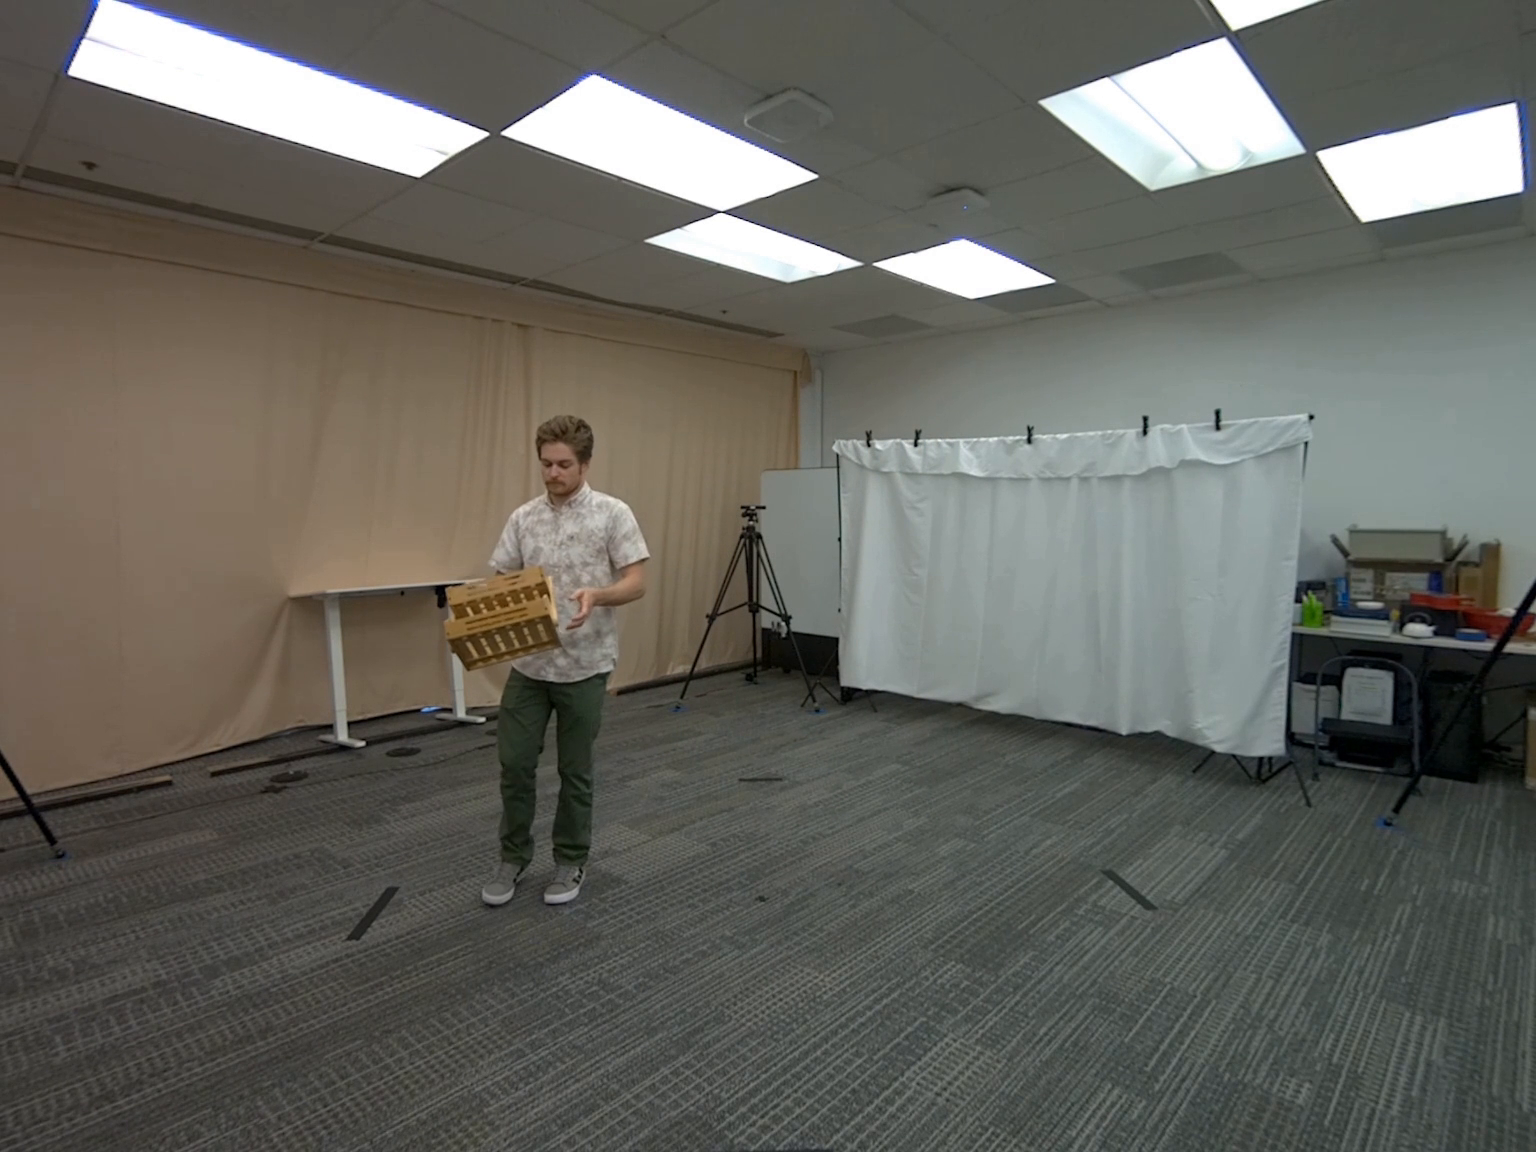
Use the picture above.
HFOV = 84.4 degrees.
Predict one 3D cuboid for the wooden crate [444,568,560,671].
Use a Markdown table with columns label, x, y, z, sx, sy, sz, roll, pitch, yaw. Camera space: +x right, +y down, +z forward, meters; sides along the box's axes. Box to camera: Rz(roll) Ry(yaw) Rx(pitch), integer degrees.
| label | x | y | z | sx | sy | sz | roll | pitch | yaw |
| --- | --- | --- | --- | --- | --- | --- | --- | --- | --- |
| wooden crate | -0.835 | 0.100 | 2.629 | 0.322 | 0.280 | 0.296 | -15 | -30 | -7 |
